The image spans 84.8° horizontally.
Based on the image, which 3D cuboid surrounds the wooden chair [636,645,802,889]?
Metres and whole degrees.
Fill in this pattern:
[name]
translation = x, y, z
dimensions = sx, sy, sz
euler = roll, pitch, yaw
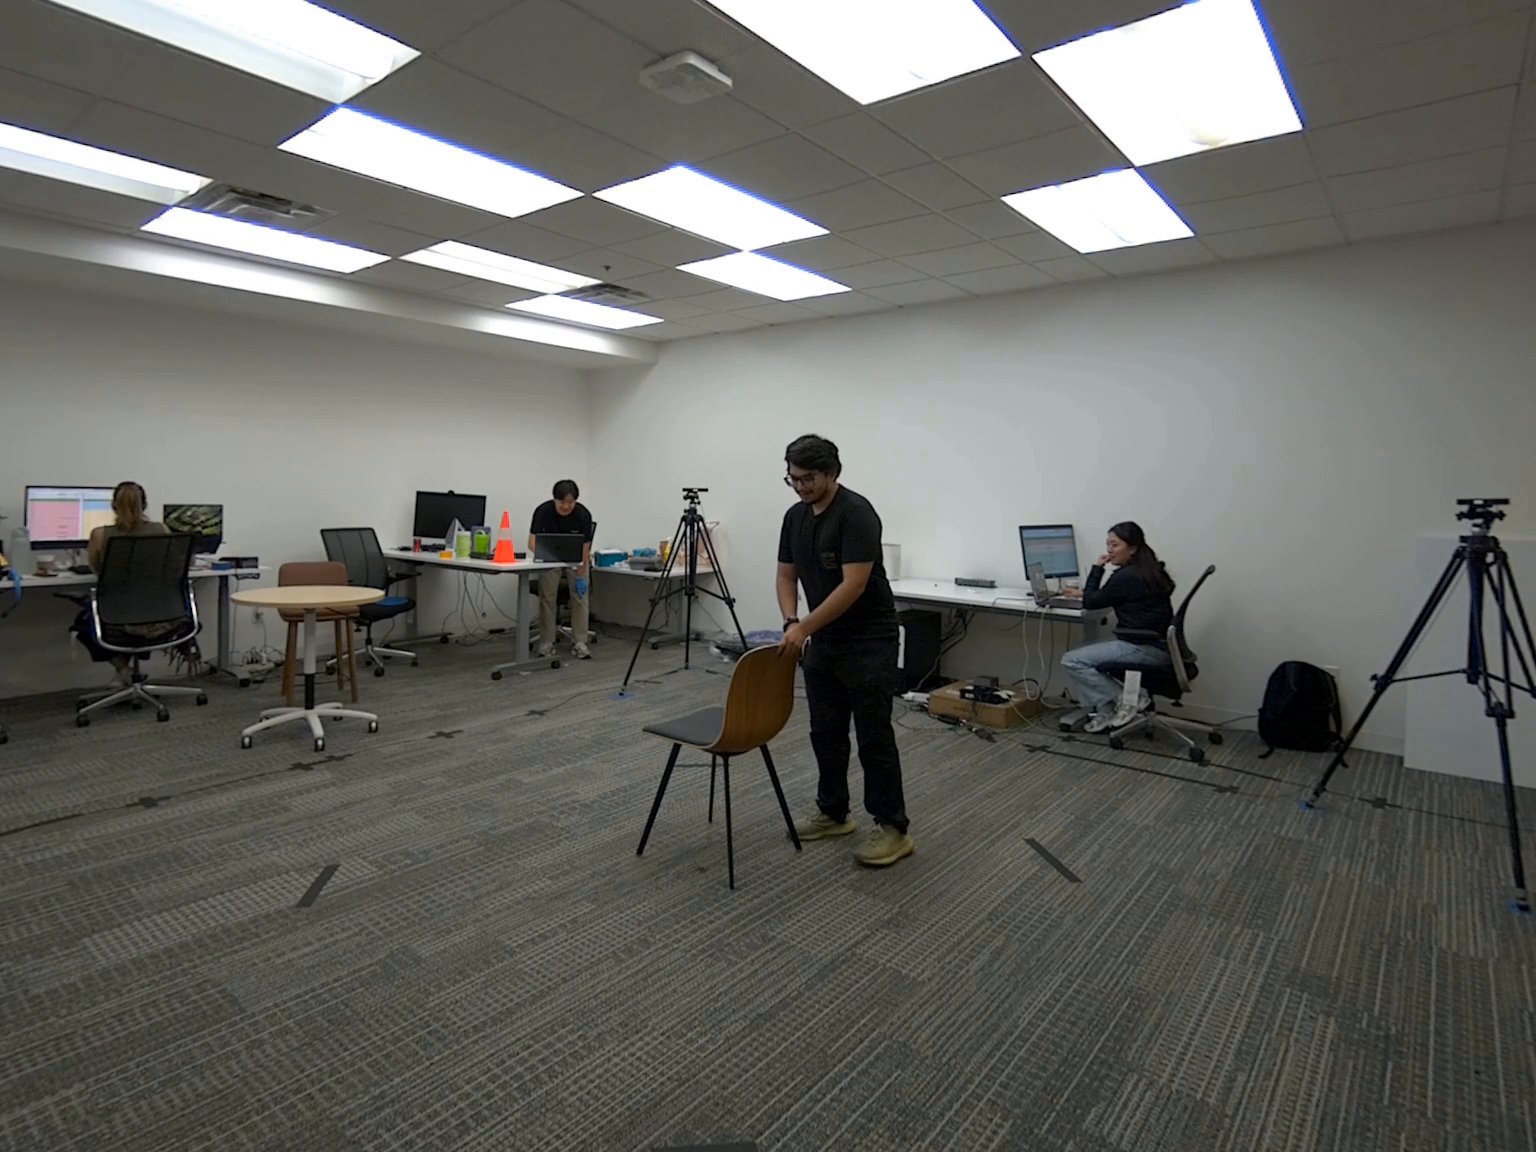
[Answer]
[wooden chair]
translation = -0.191, 0.630, 3.233
dimensions = 0.541, 0.873, 0.464
euler = 9, 7, 36
